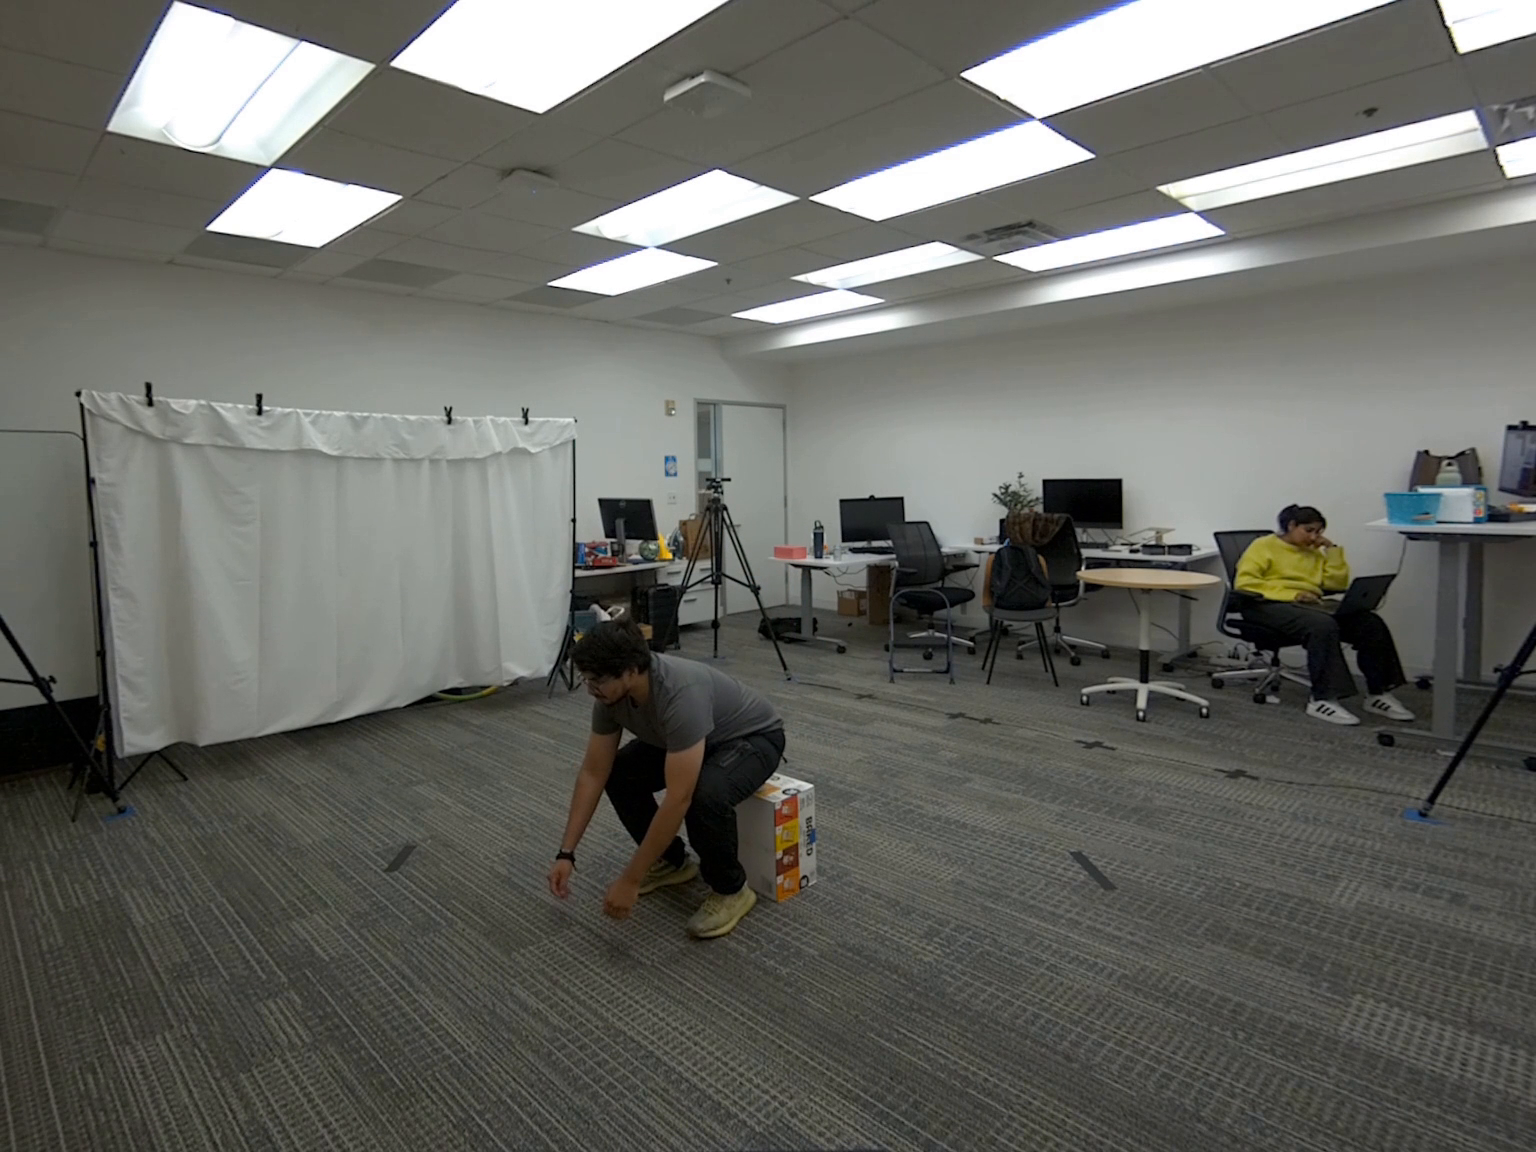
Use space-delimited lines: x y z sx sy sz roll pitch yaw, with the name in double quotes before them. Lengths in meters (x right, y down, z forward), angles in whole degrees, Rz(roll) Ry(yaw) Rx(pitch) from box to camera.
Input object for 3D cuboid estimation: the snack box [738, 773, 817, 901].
"snack box" -0.046 0.882 3.016 0.418 0.339 0.200 4 6 45
